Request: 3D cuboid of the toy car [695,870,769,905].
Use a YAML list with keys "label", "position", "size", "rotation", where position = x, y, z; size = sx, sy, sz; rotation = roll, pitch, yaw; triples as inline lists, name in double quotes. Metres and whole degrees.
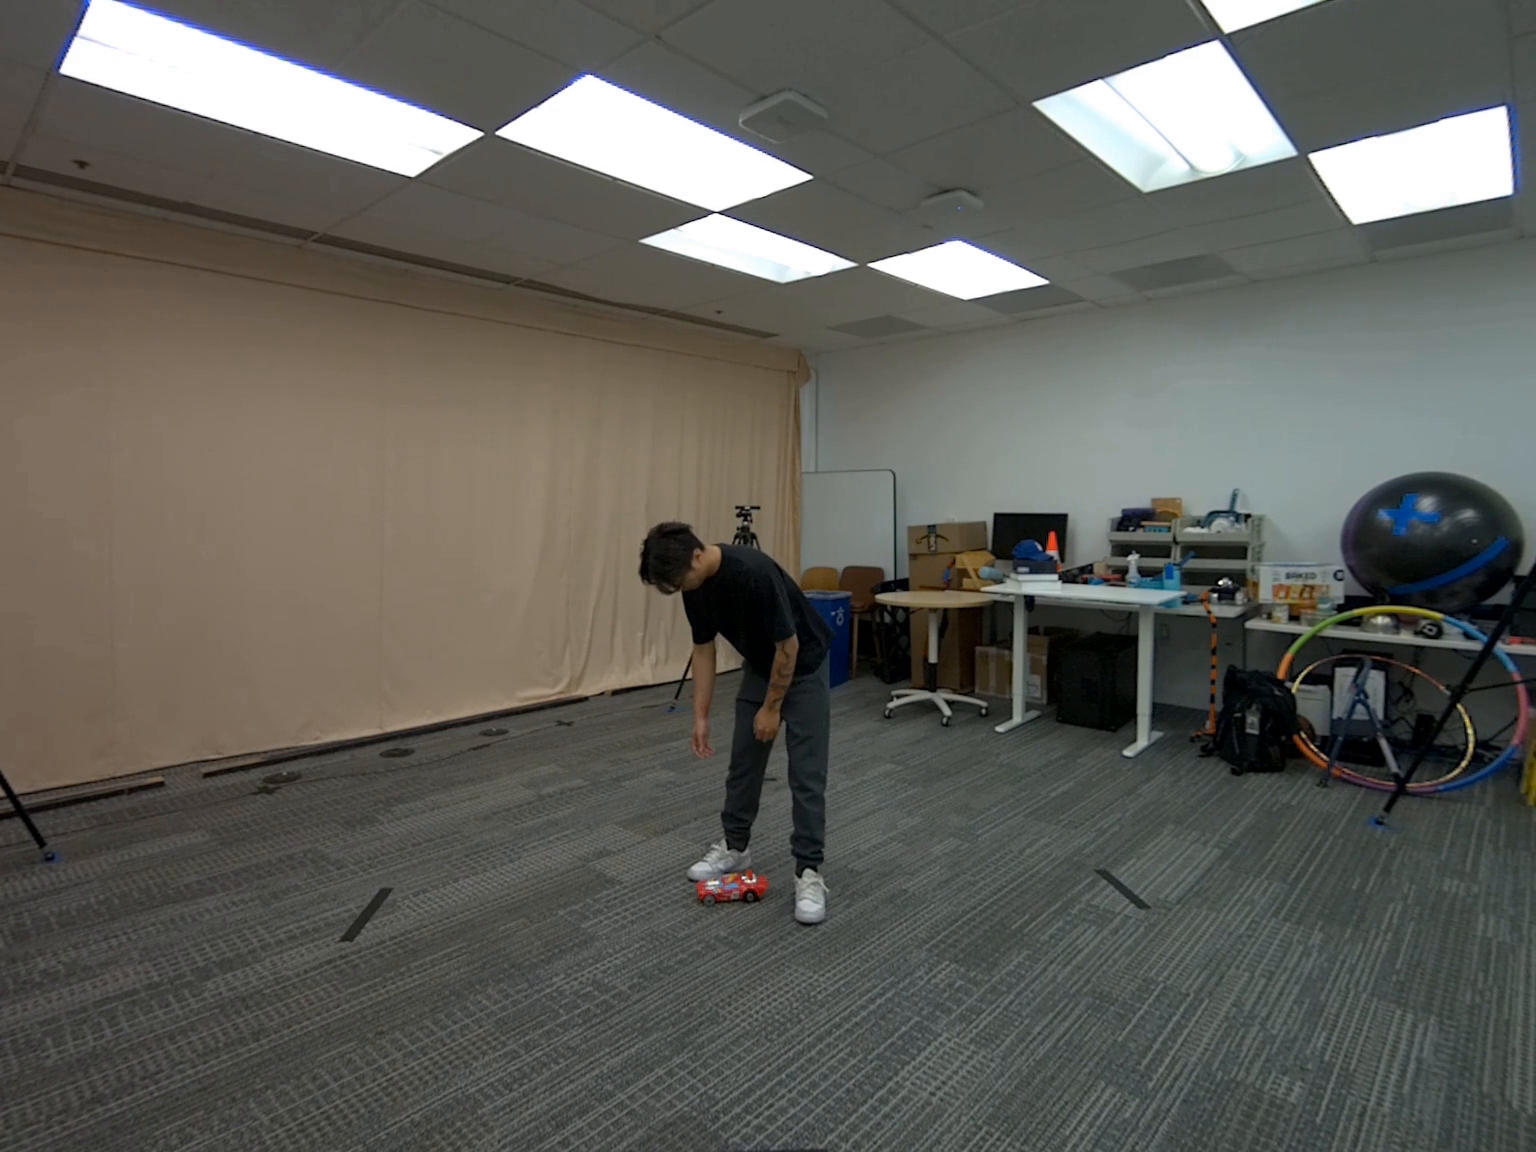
- label: "toy car"
  position: [-0.121, 1.117, 2.998]
  size: [0.253, 0.083, 0.132]
  rotation: [-12, 5, -8]
